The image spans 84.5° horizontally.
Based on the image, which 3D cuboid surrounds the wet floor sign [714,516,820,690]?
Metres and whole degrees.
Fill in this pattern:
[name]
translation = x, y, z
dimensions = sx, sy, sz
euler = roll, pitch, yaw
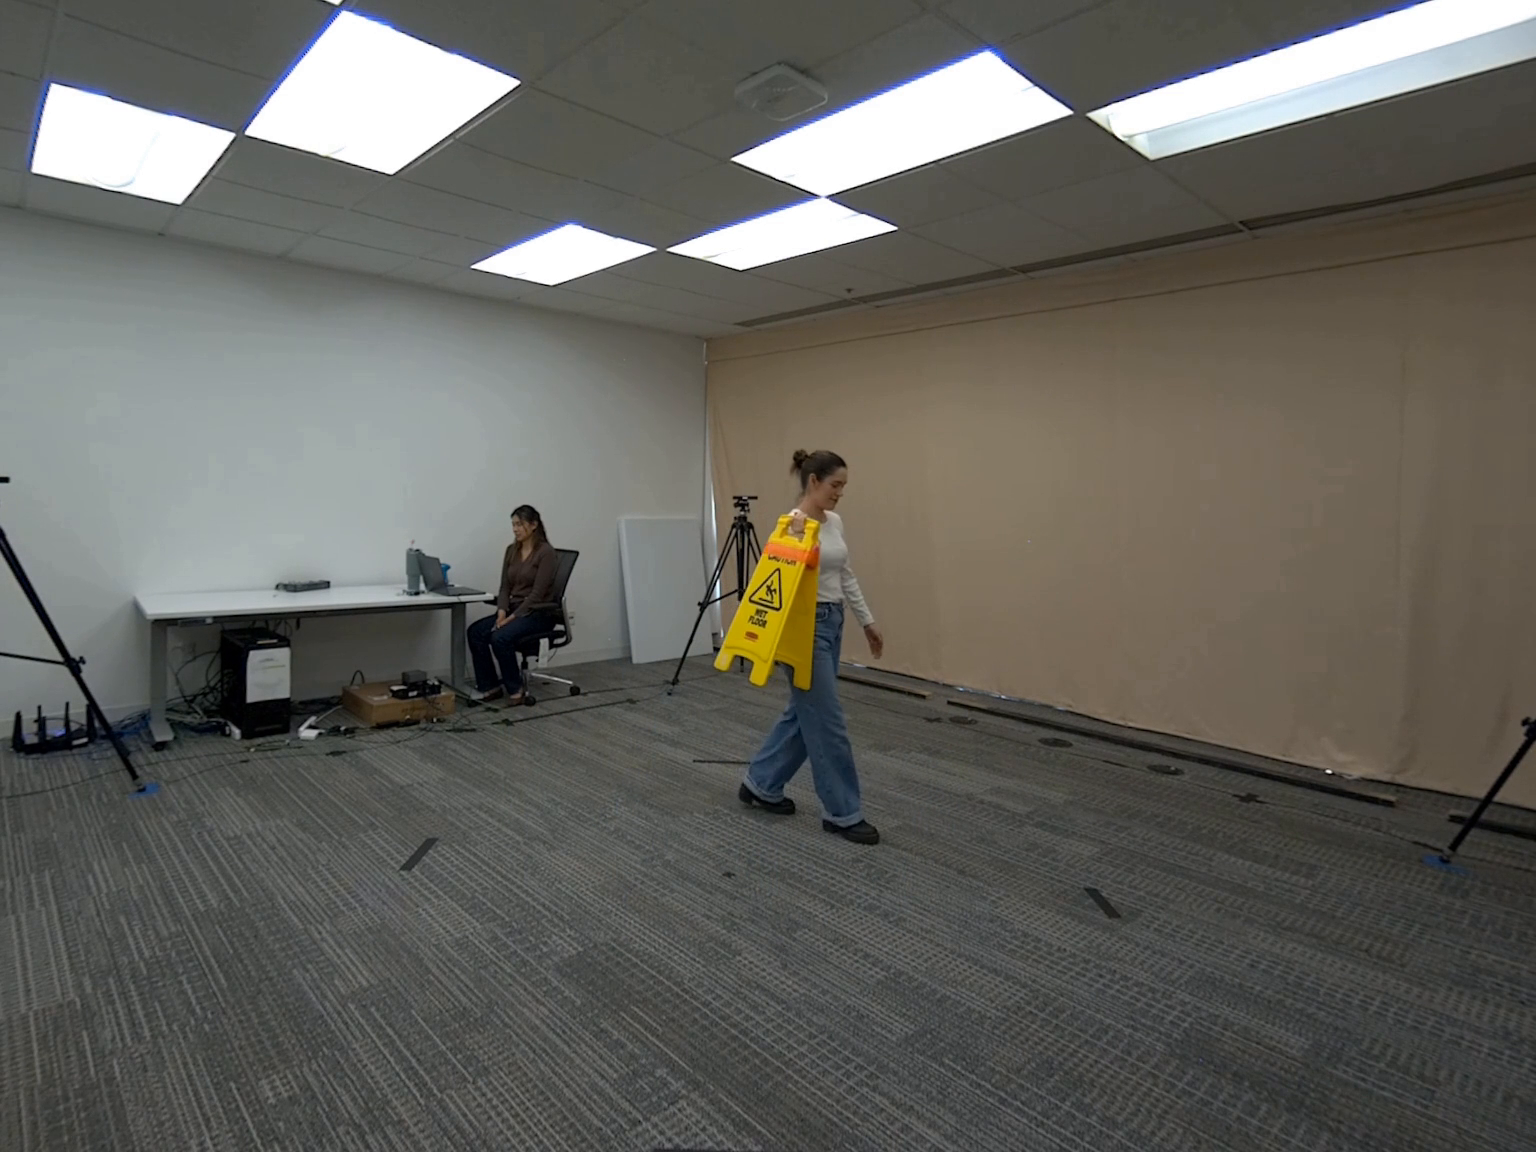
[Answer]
[wet floor sign]
translation = 0.047, 0.084, 3.278
dimensions = 0.290, 0.646, 0.281
euler = 14, 1, 44
